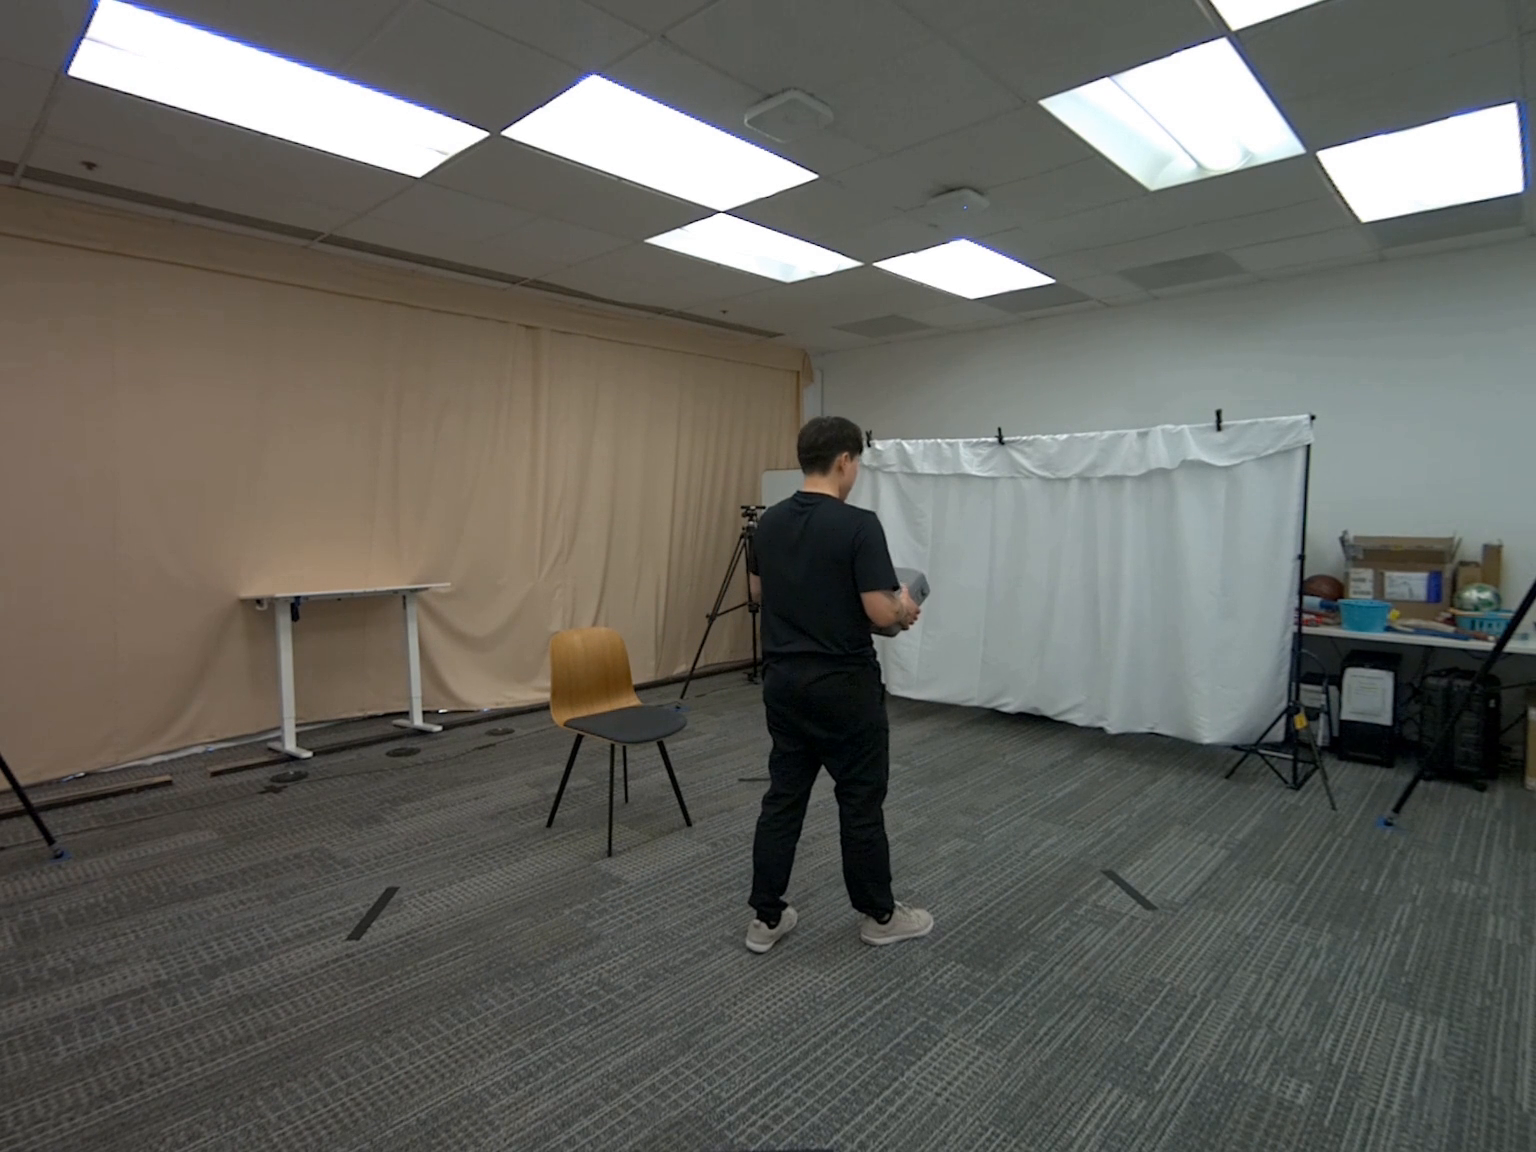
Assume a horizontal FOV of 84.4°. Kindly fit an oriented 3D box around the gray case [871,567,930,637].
[{"bbox_3d":[0.400,0.073,2.856,0.258,0.102,0.266,-43,32,-27],"label":"gray case"}]
